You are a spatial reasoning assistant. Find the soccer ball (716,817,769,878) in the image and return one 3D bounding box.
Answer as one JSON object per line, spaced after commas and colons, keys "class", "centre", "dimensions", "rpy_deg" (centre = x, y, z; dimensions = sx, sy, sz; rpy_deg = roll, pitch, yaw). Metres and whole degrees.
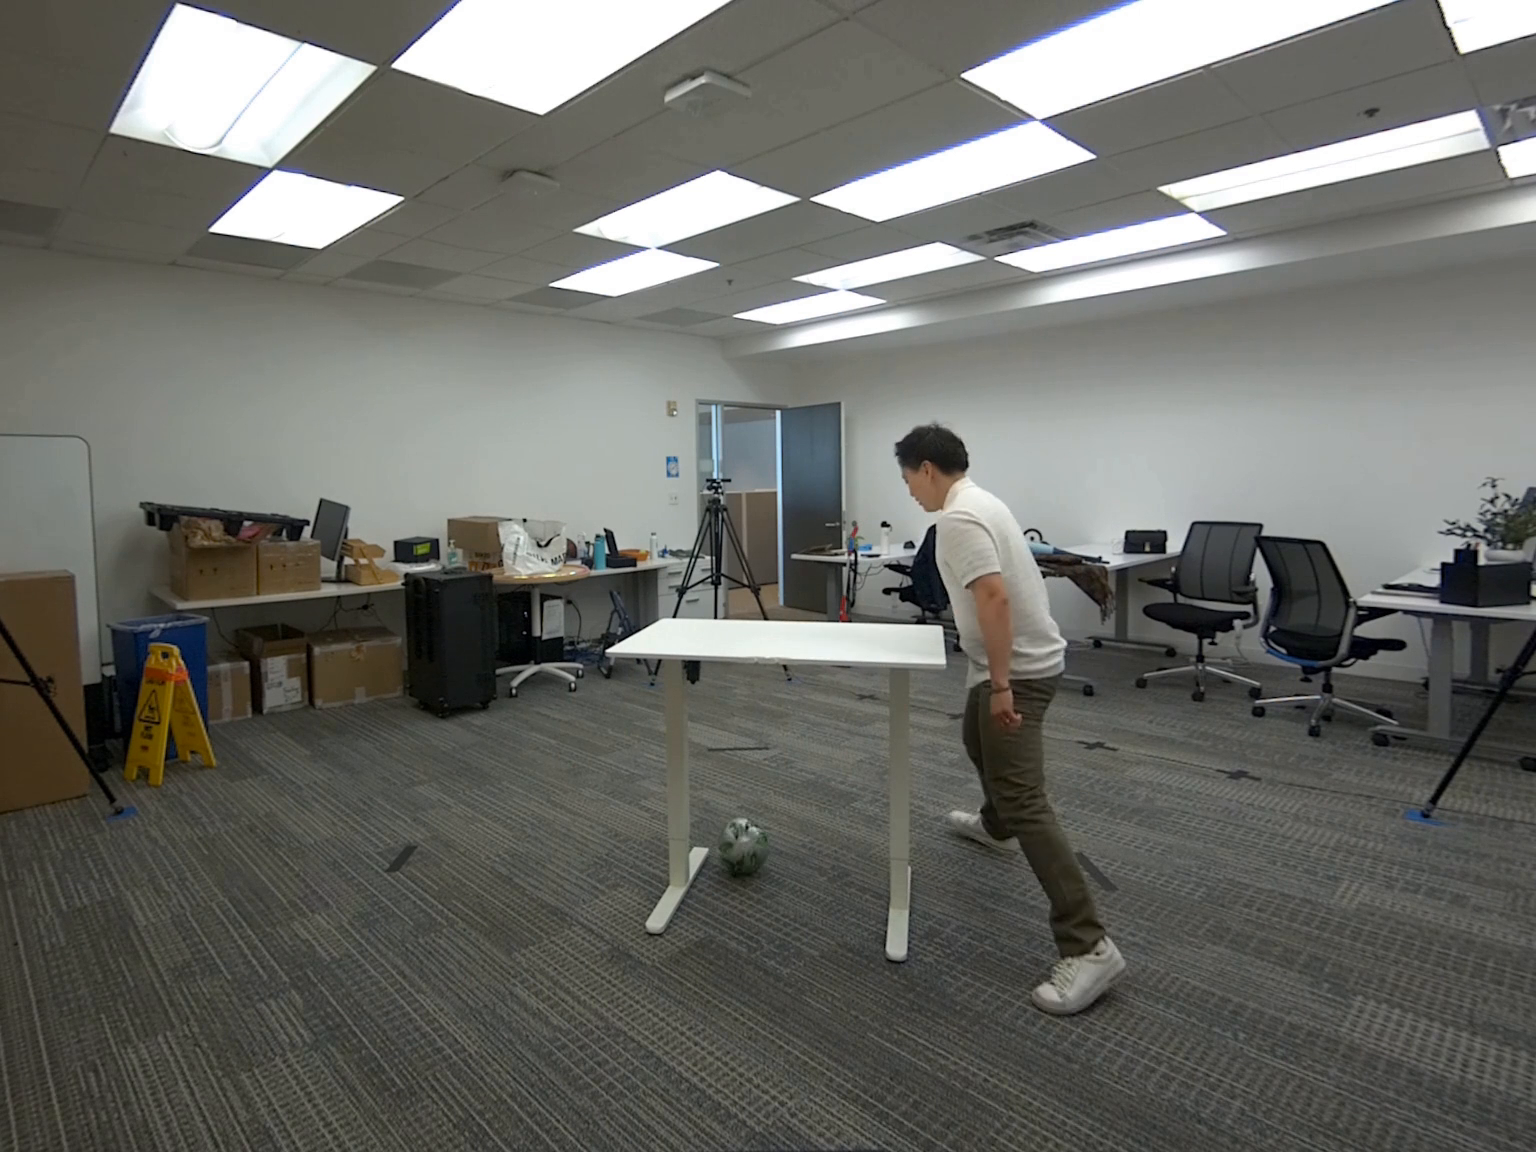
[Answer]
{"class": "soccer ball", "centre": [-0.083, 0.960, 3.034], "dimensions": [0.187, 0.187, 0.188], "rpy_deg": [-1, 5, -2]}
